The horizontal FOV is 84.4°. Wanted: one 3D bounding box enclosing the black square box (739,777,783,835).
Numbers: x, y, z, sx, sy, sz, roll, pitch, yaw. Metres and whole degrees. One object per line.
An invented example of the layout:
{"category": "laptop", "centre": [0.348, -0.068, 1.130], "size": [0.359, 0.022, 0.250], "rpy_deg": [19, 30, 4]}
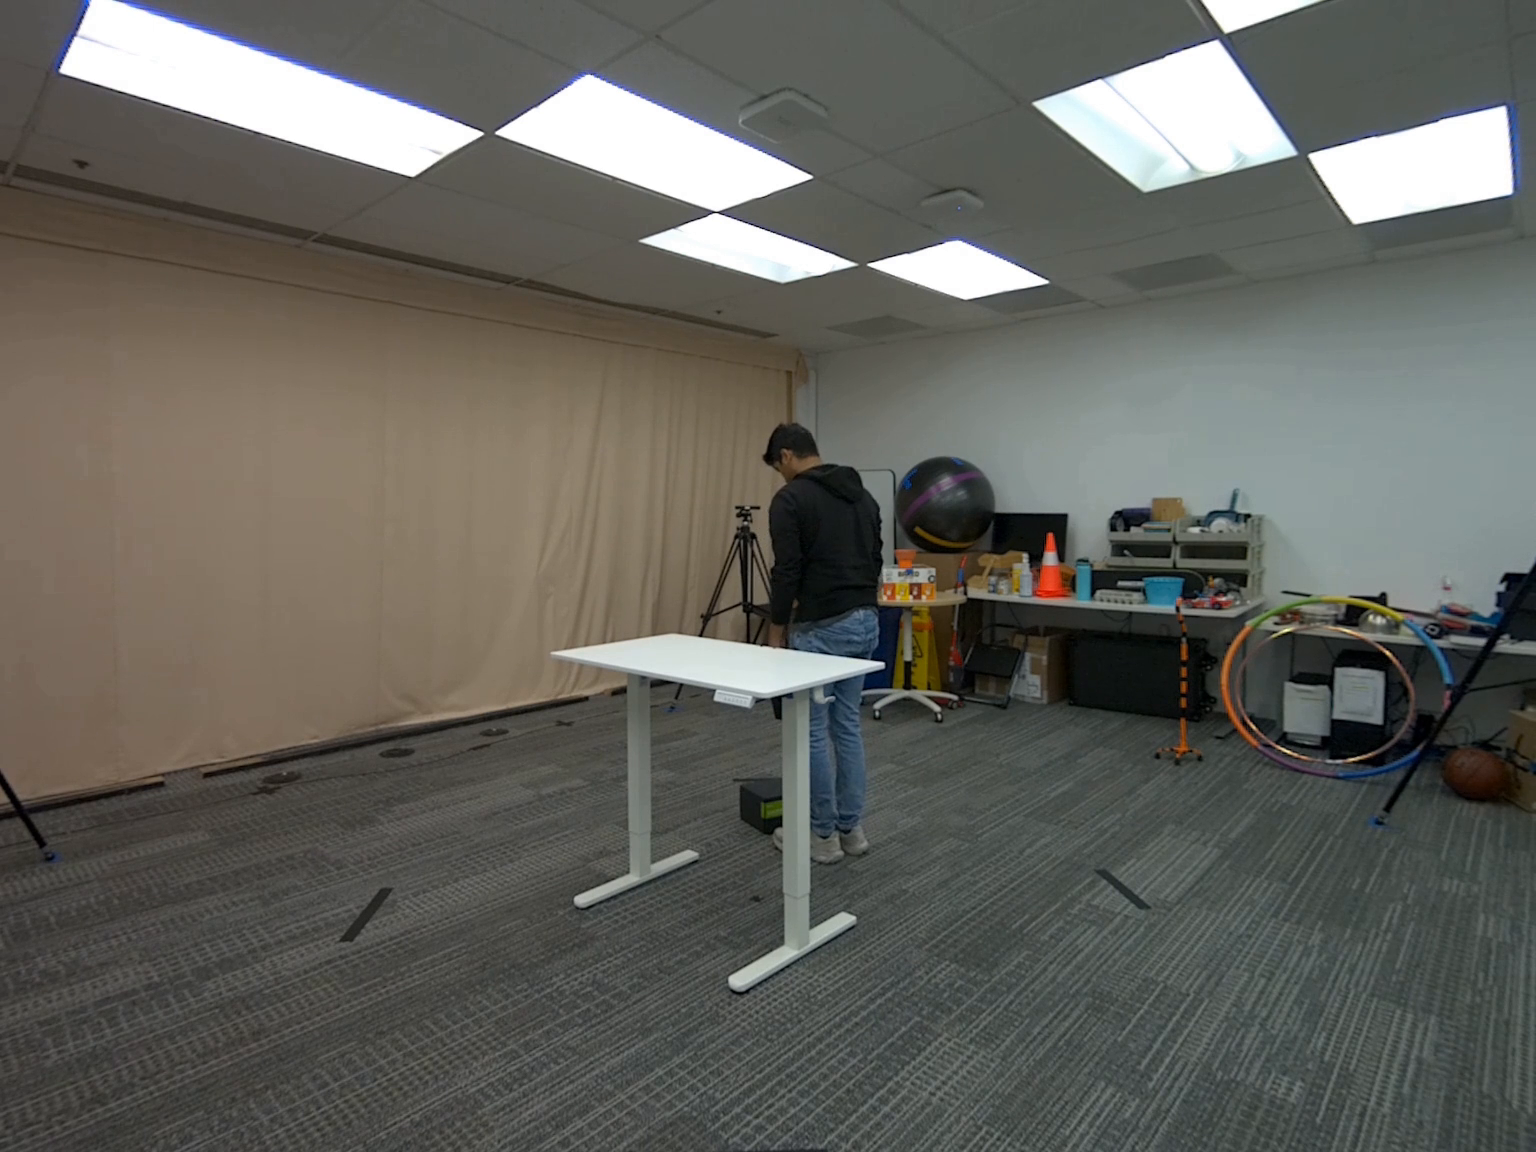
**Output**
{"category": "black square box", "centre": [0.029, 1.001, 3.700], "size": [0.222, 0.155, 0.223], "rpy_deg": [-3, 5, -30]}
